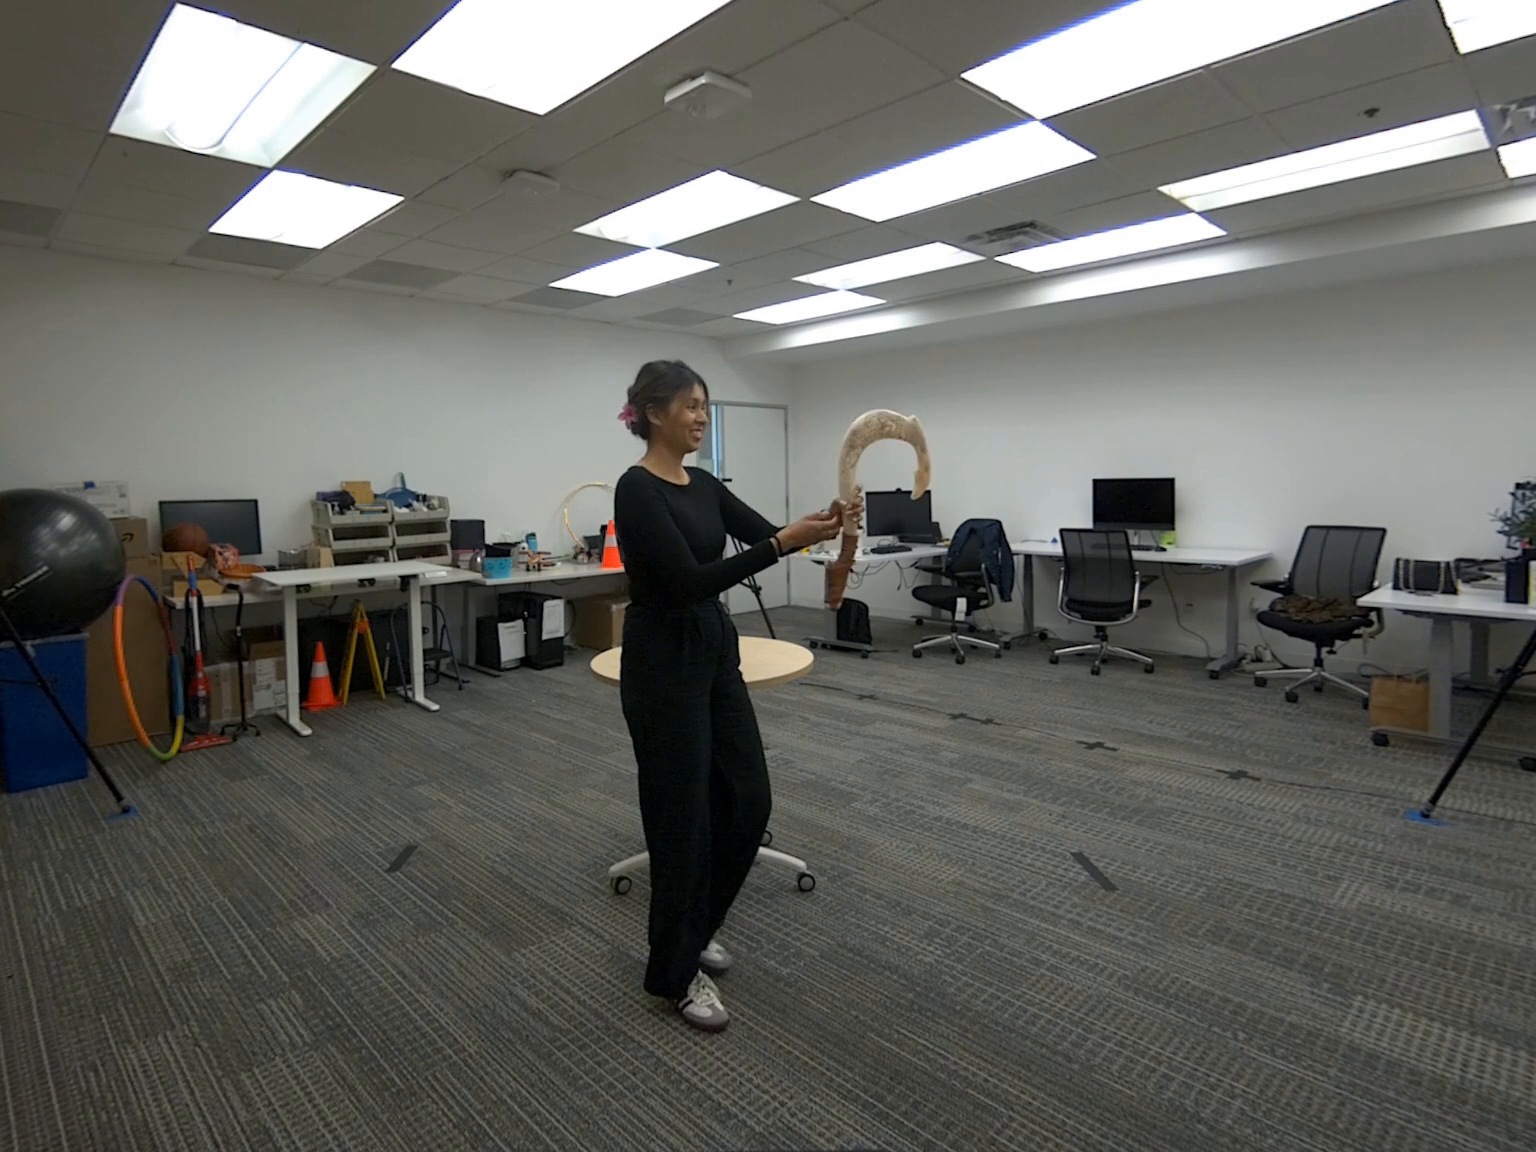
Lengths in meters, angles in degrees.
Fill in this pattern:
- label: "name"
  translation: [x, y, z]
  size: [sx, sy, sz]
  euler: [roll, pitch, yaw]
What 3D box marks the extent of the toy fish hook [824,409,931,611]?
- label: "toy fish hook"
  translation: [0.247, -0.140, 2.077]
  size: [0.227, 0.503, 0.048]
  euler: [12, 9, 9]
